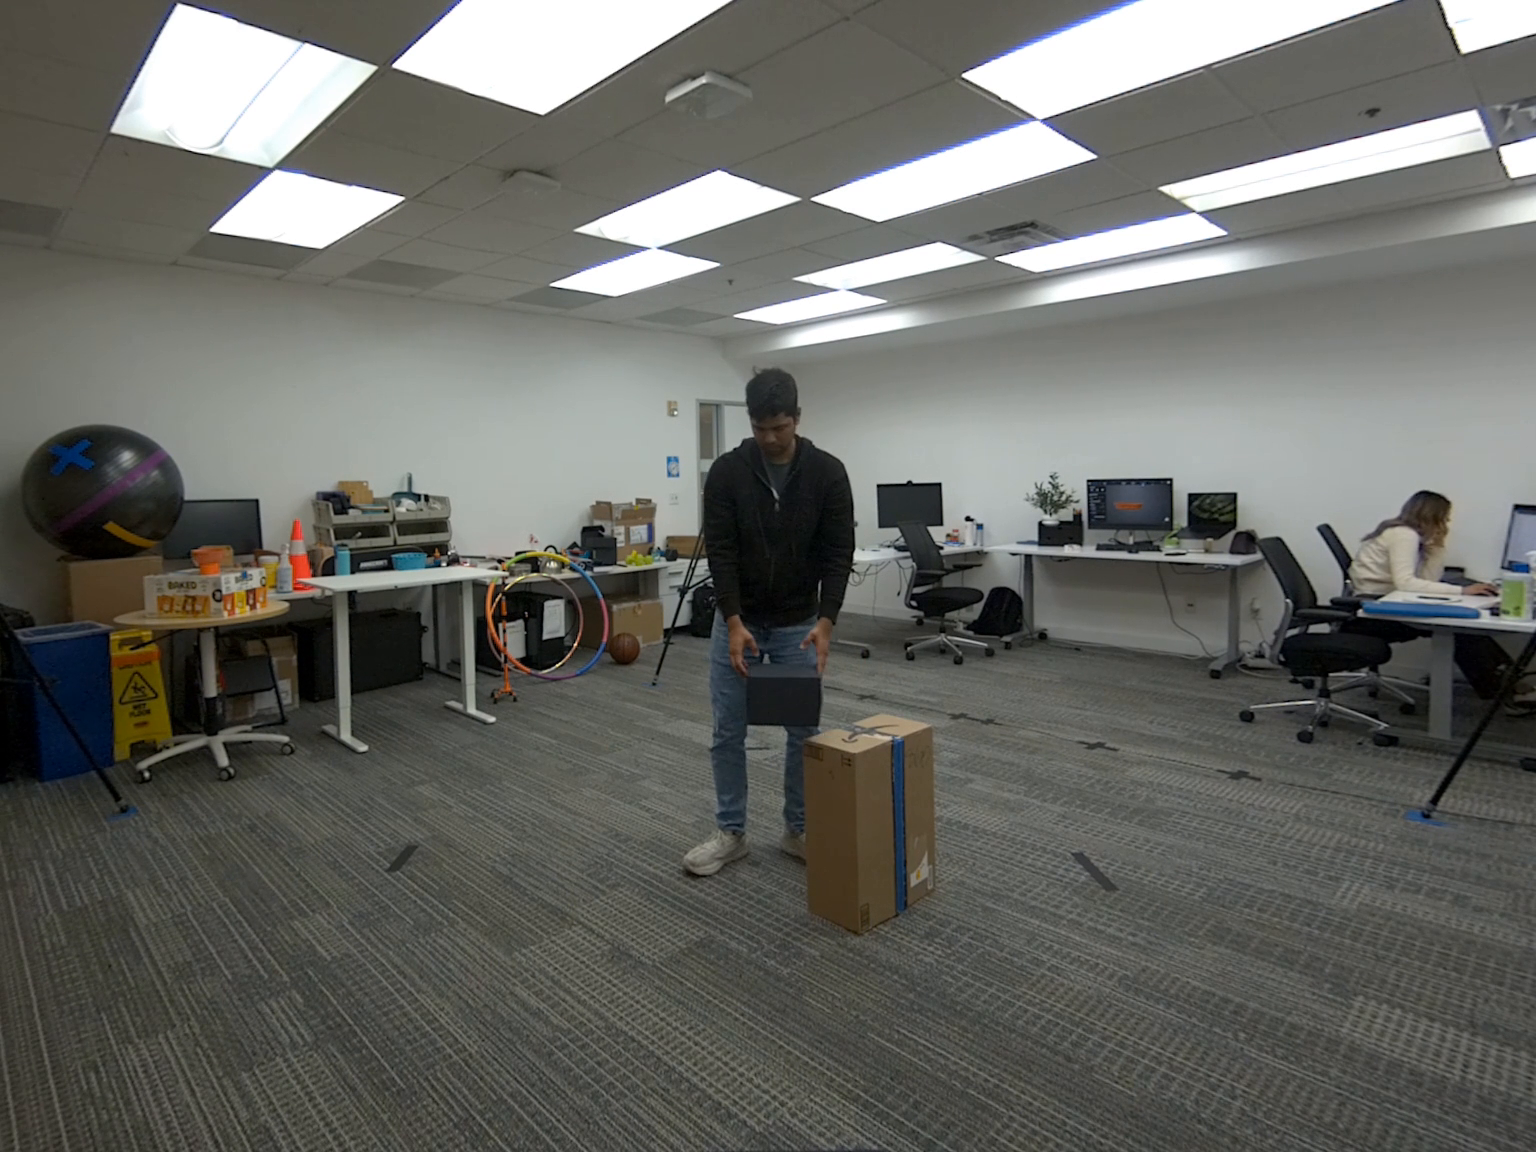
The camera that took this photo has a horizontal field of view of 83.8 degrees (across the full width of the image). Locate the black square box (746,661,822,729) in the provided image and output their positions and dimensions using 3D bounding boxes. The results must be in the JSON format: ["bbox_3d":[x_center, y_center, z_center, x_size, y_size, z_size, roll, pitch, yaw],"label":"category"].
[{"bbox_3d":[0.046,0.385,2.765,0.228,0.155,0.217,1,4,1],"label":"black square box"}]
